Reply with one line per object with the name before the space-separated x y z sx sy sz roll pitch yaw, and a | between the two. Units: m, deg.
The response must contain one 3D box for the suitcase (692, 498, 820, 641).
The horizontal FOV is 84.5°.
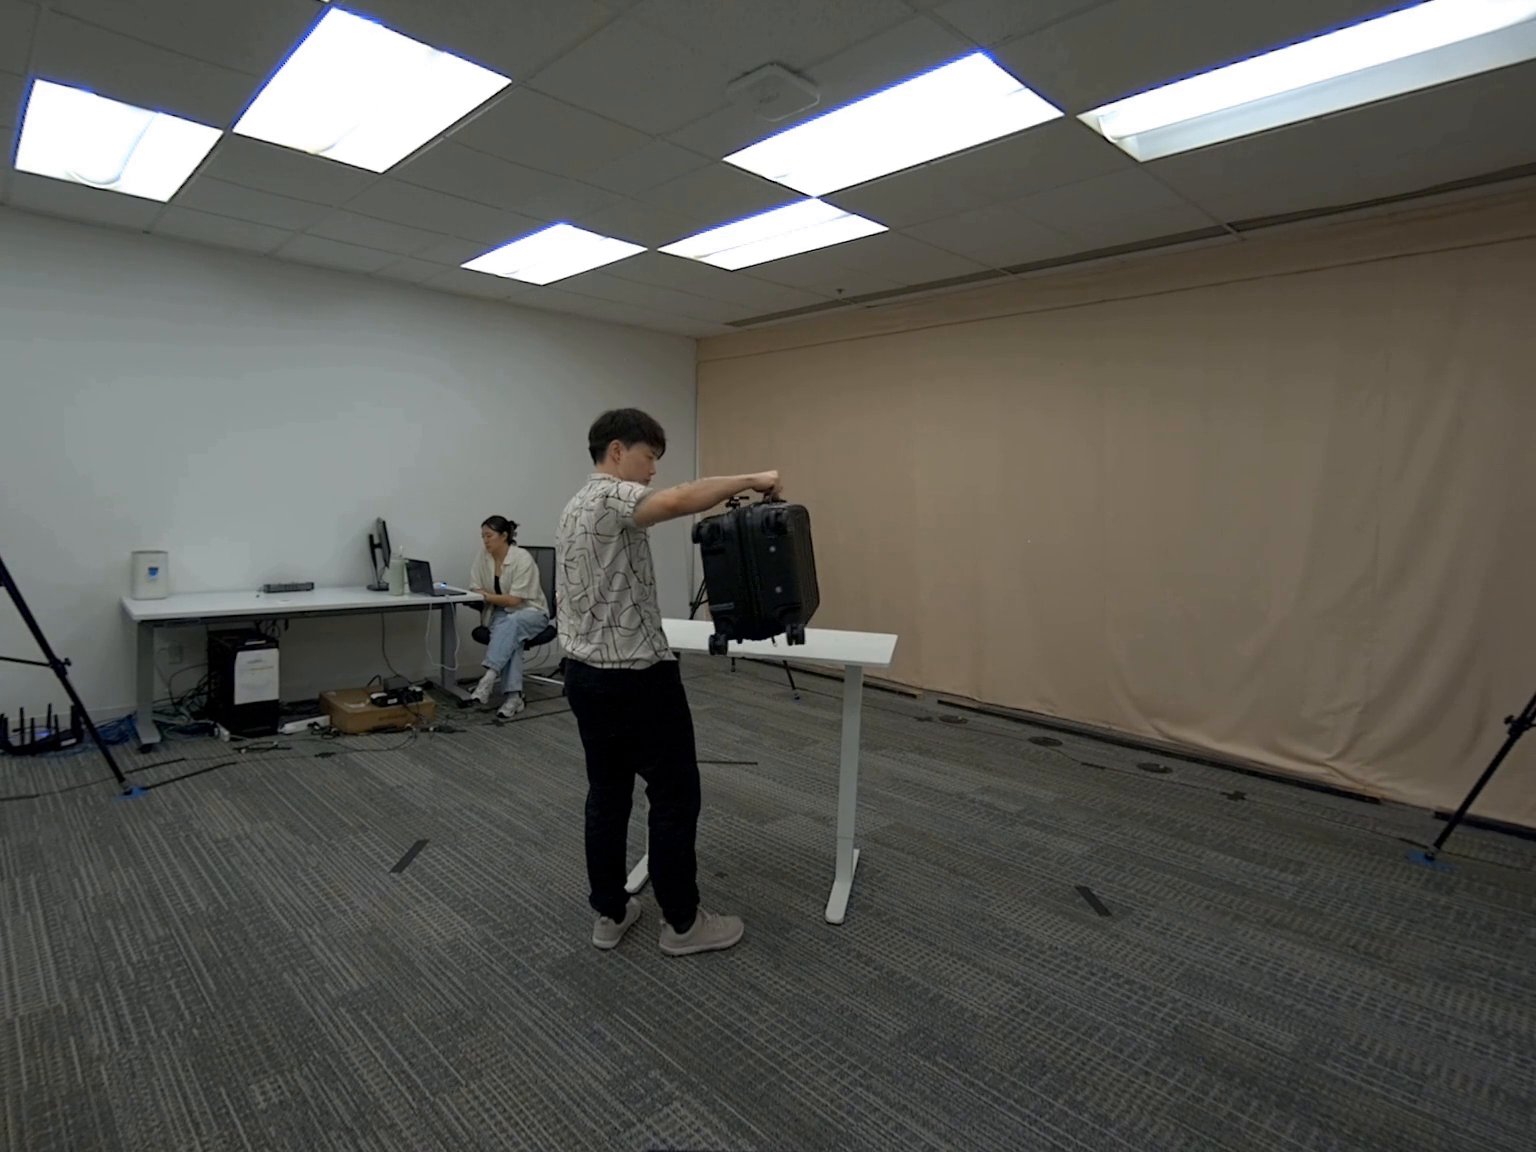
suitcase | -0.015 -0.023 2.402 0.250 0.374 0.546 -9 3 11
